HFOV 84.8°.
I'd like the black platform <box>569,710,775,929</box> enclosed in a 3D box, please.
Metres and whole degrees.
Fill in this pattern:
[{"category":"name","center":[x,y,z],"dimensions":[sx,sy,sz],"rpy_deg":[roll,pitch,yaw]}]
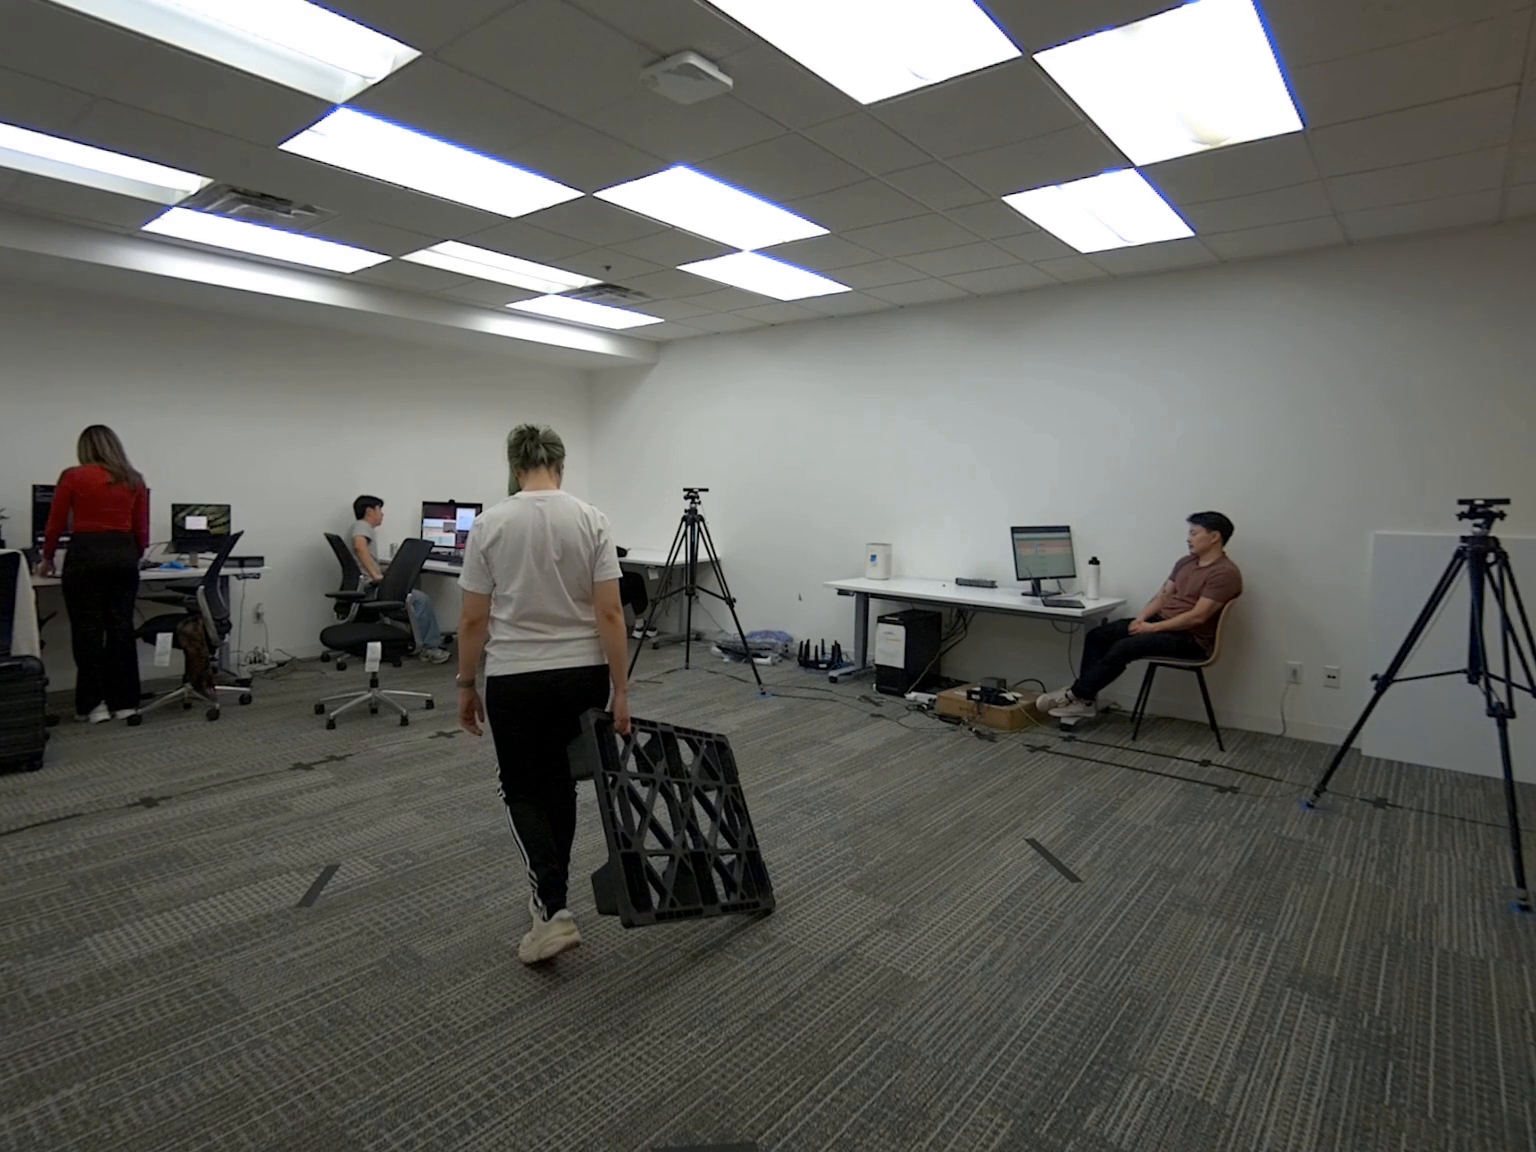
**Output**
[{"category":"black platform","center":[-0.301,0.767,2.657],"dimensions":[0.144,0.624,0.774],"rpy_deg":[-29,-28,20]}]
